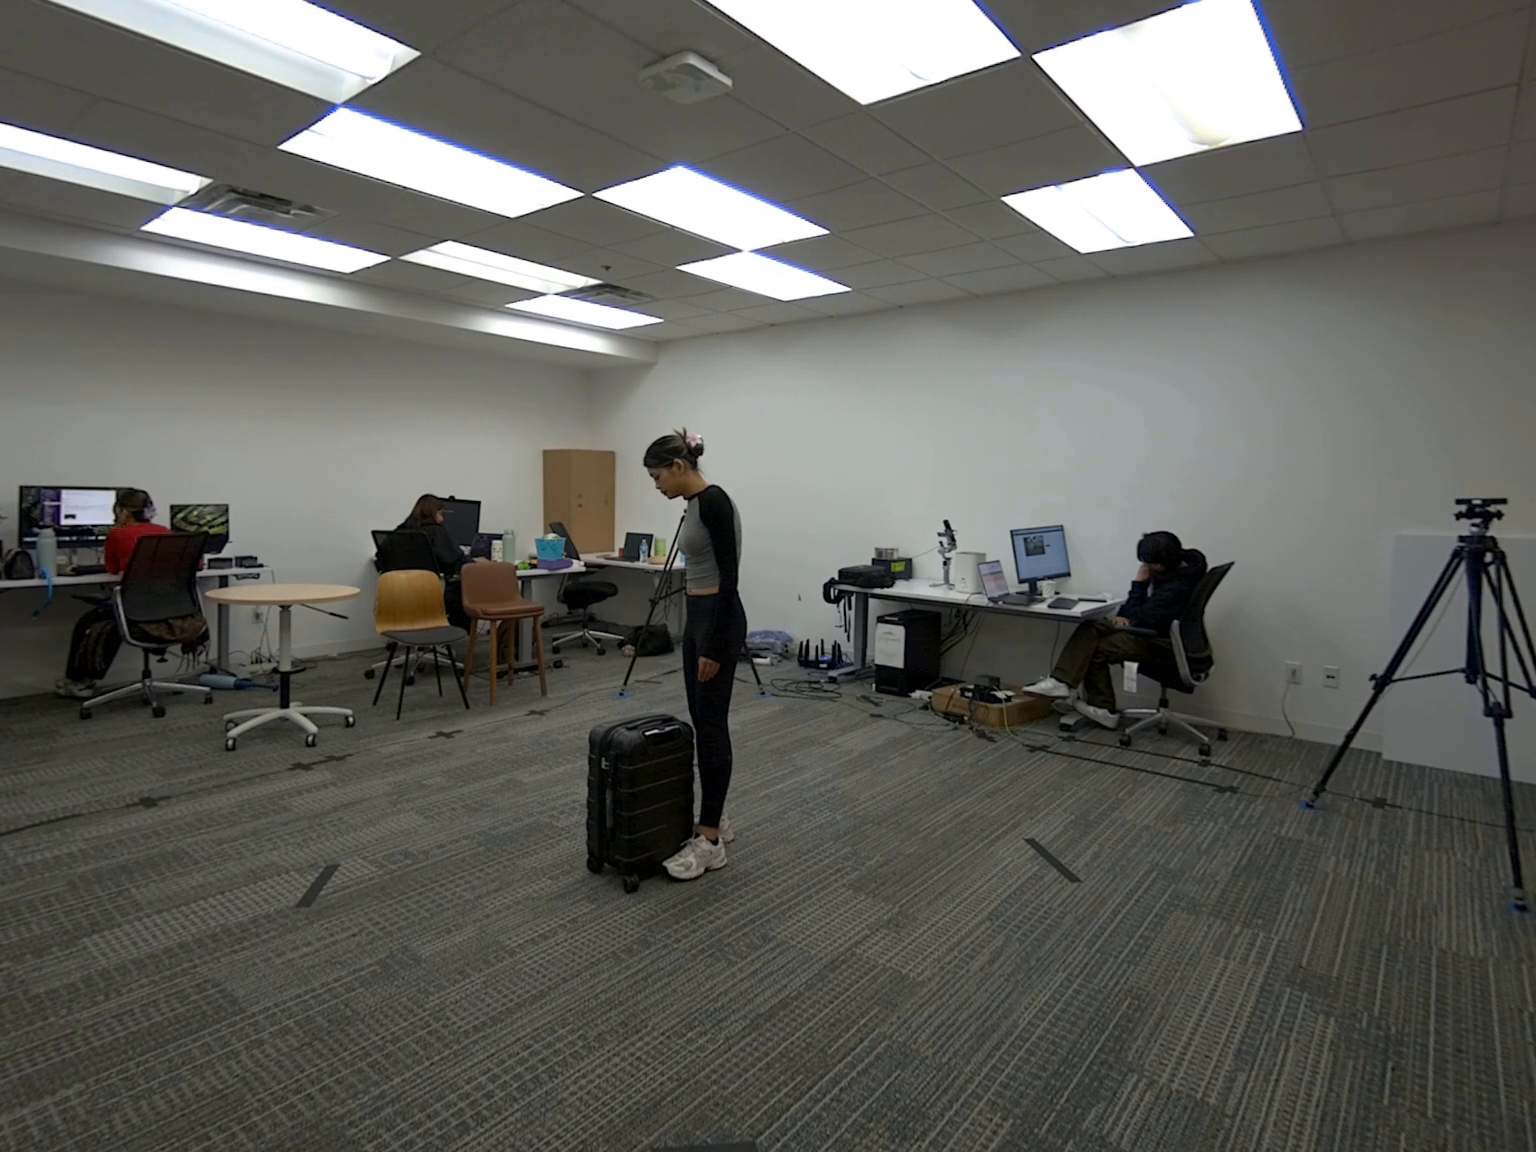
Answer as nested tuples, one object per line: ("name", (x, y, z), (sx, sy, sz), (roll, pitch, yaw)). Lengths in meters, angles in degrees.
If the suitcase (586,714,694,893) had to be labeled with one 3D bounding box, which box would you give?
("suitcase", (-0.479, 0.791, 3.105), (0.256, 0.549, 0.364), (1, 2, 43))
